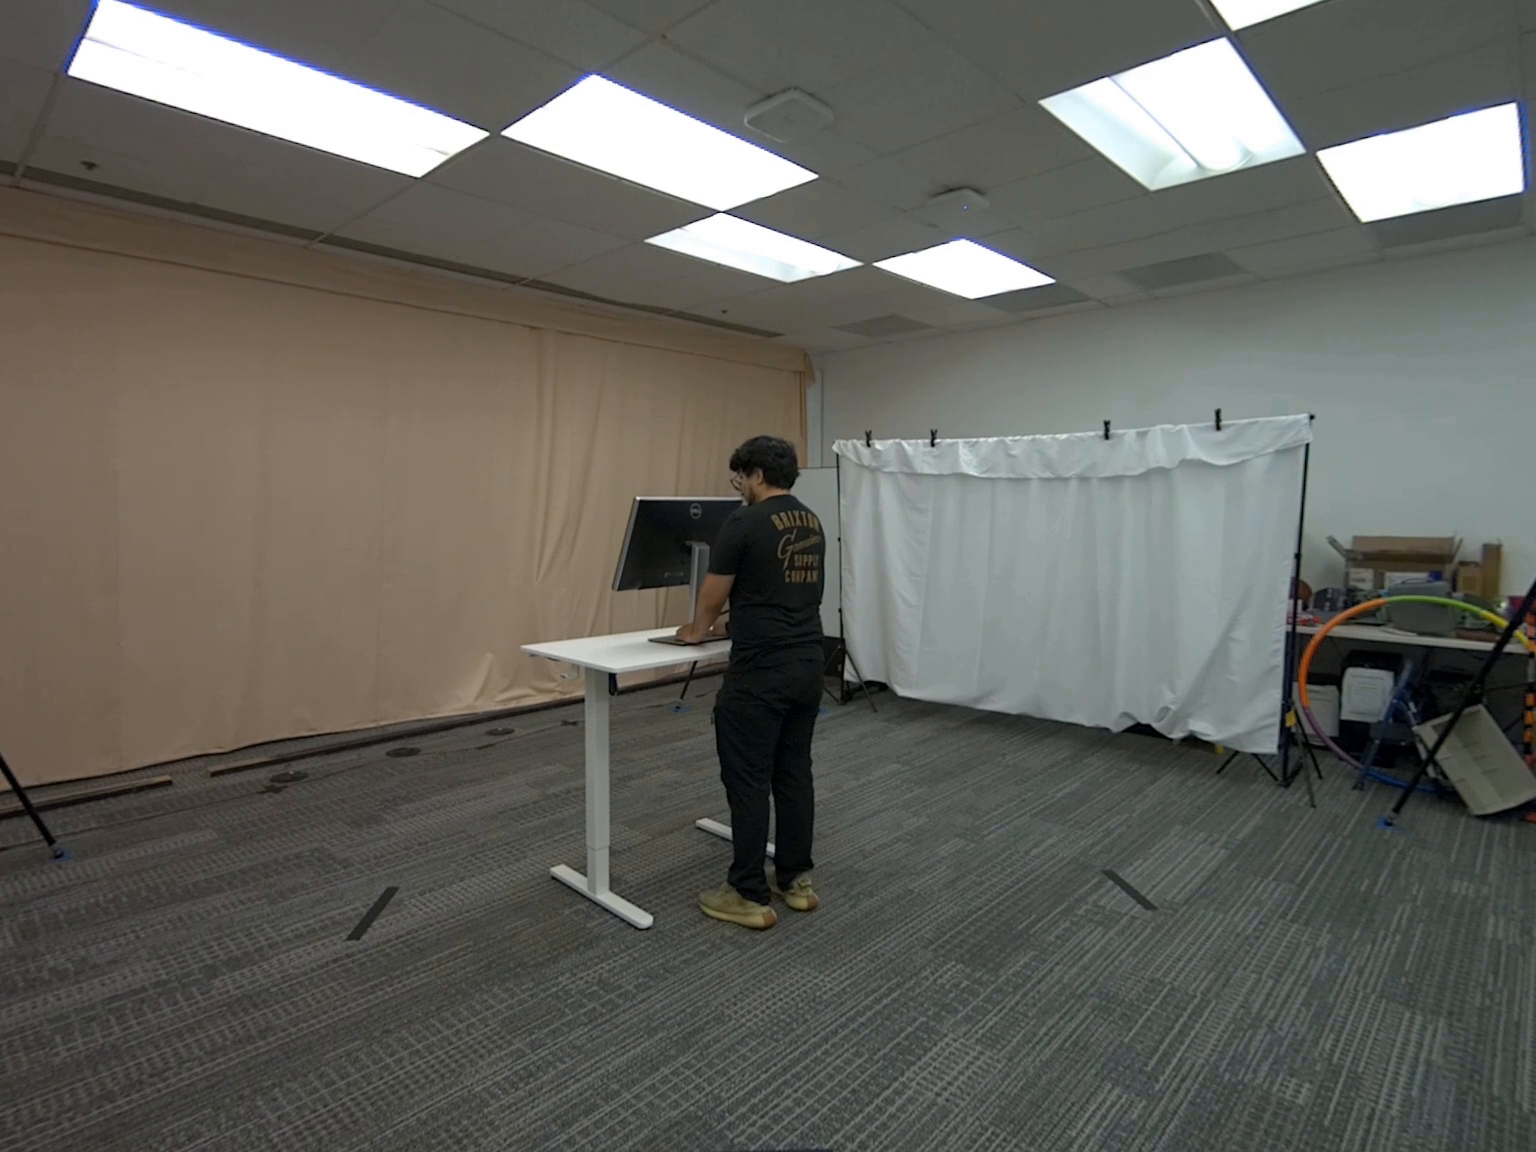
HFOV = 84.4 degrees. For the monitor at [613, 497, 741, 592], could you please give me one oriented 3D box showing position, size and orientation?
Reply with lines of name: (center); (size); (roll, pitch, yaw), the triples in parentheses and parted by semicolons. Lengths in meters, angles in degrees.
monitor: (-0.288, -0.020, 3.171); (0.218, 0.551, 0.548); (18, 14, 38)
